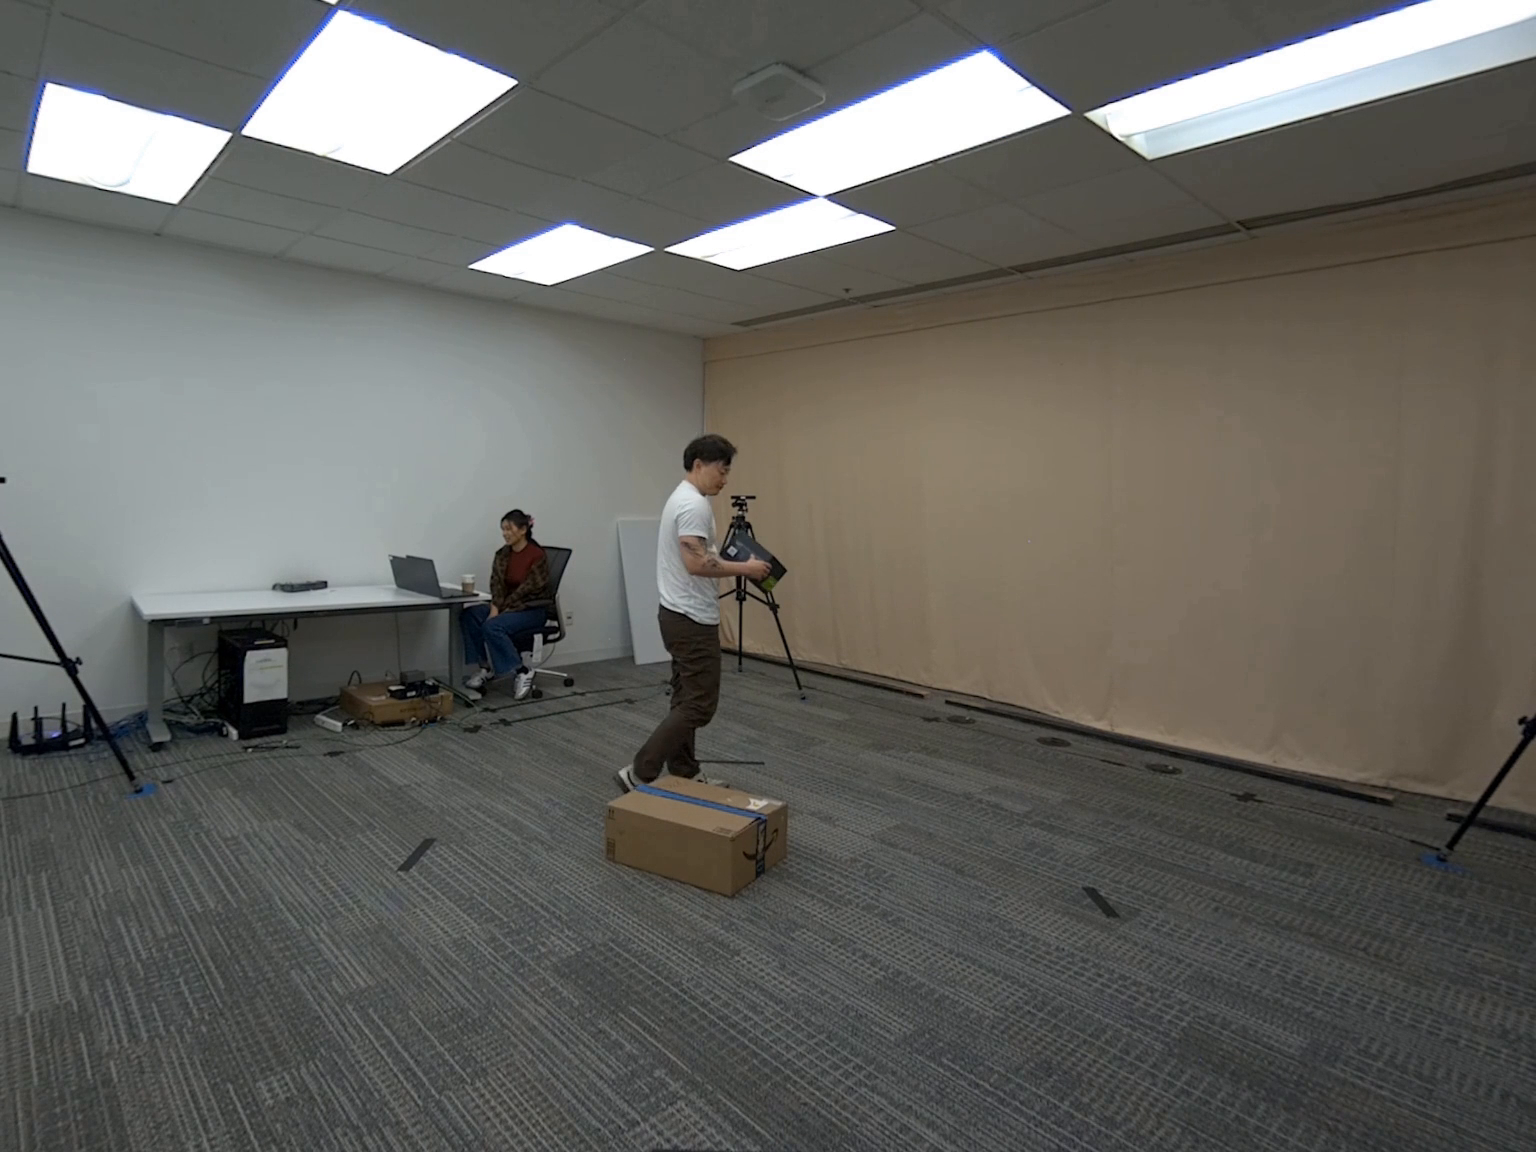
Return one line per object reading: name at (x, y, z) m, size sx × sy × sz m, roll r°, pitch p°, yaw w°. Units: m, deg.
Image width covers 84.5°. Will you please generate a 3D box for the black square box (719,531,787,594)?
black square box at (-0.080, -0.062, 3.866) m, size 0.223 × 0.156 × 0.222 m, roll 40°, pitch -2°, yaw 27°
